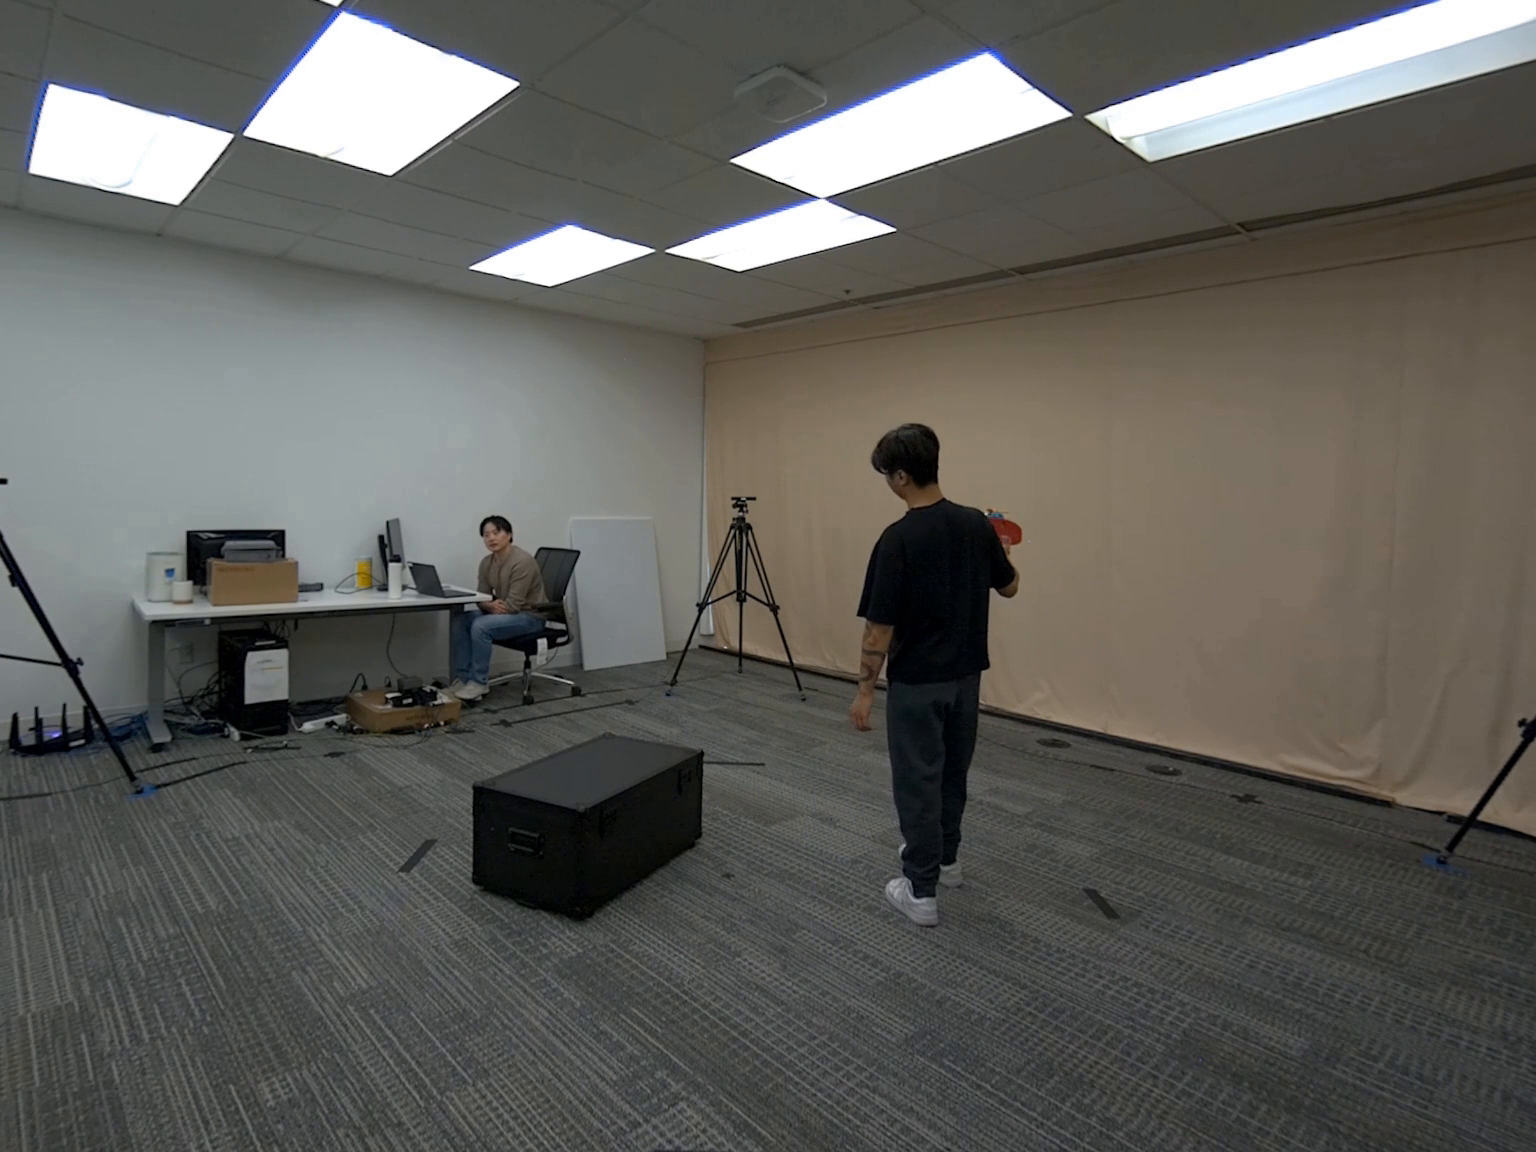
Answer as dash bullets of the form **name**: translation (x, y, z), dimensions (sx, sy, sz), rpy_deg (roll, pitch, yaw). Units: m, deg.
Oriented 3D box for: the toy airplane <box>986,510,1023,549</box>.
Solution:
- **toy airplane**: translation (0.872, -0.129, 3.272), dimensions (0.248, 0.259, 0.158), rpy_deg (-30, 0, -42)
